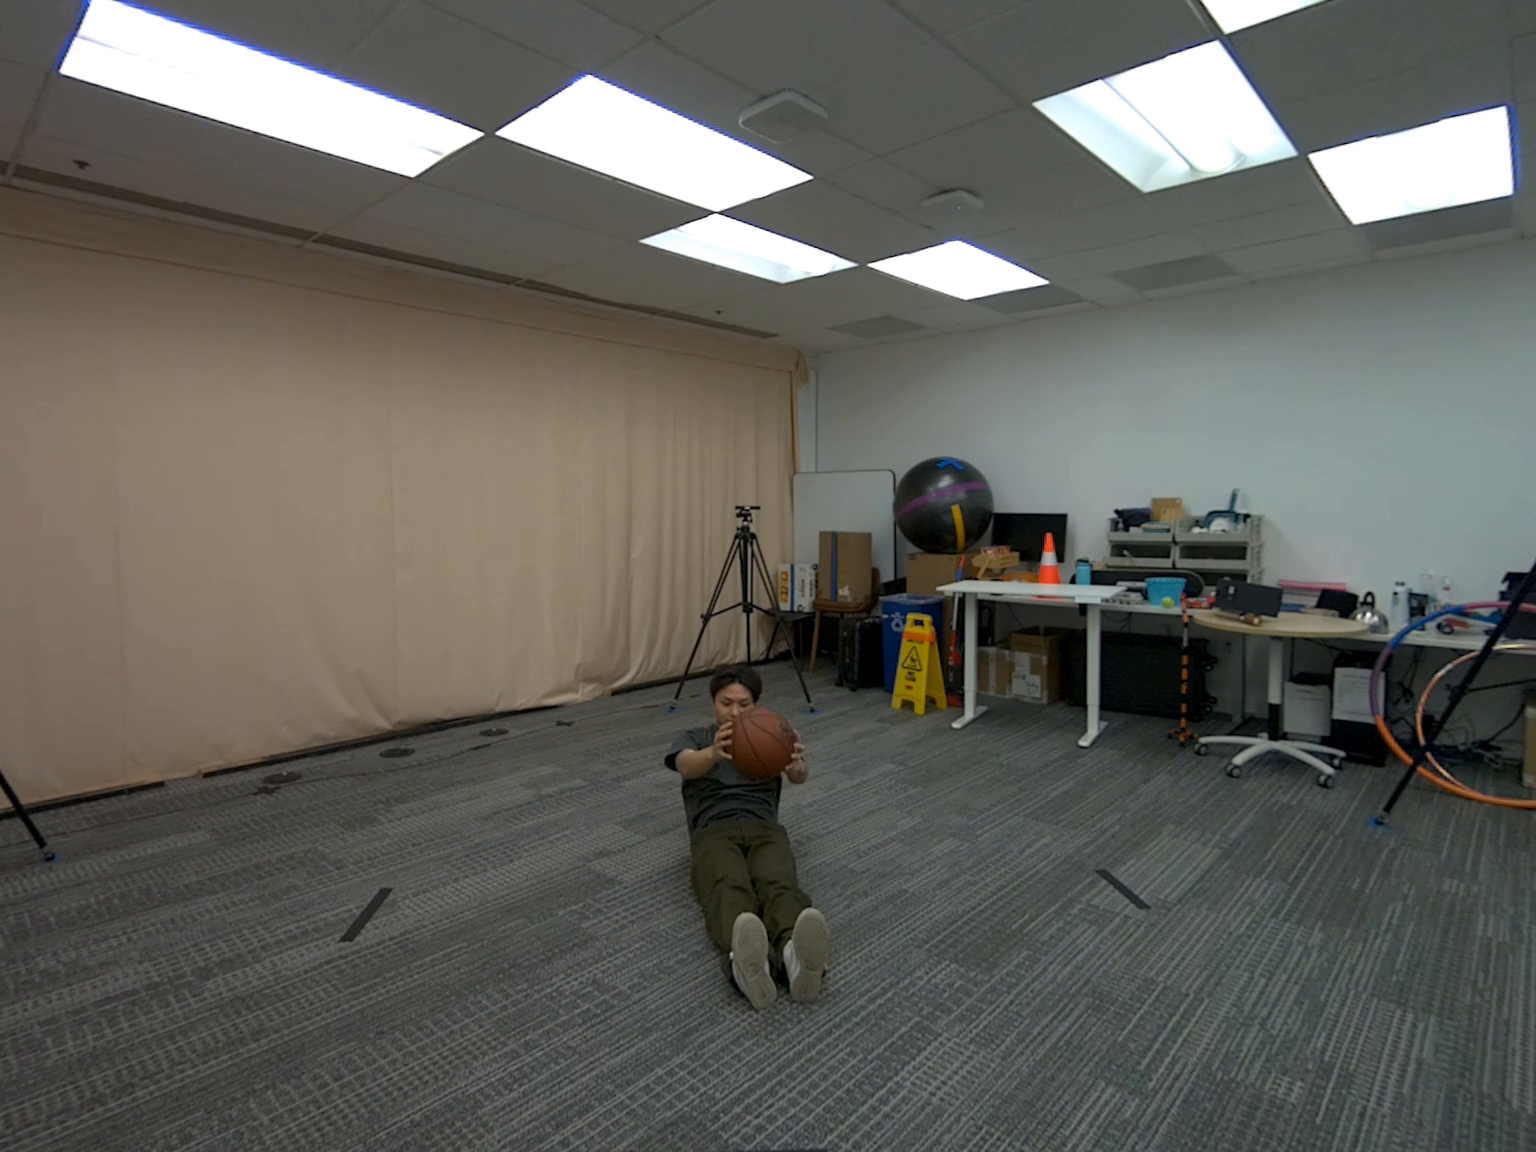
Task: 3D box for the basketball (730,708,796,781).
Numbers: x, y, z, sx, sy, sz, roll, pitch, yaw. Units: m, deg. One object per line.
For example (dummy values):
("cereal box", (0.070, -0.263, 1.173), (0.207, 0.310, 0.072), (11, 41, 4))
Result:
("basketball", (-0.030, 0.565, 2.821), (0.236, 0.235, 0.237), (0, 4, -2))
